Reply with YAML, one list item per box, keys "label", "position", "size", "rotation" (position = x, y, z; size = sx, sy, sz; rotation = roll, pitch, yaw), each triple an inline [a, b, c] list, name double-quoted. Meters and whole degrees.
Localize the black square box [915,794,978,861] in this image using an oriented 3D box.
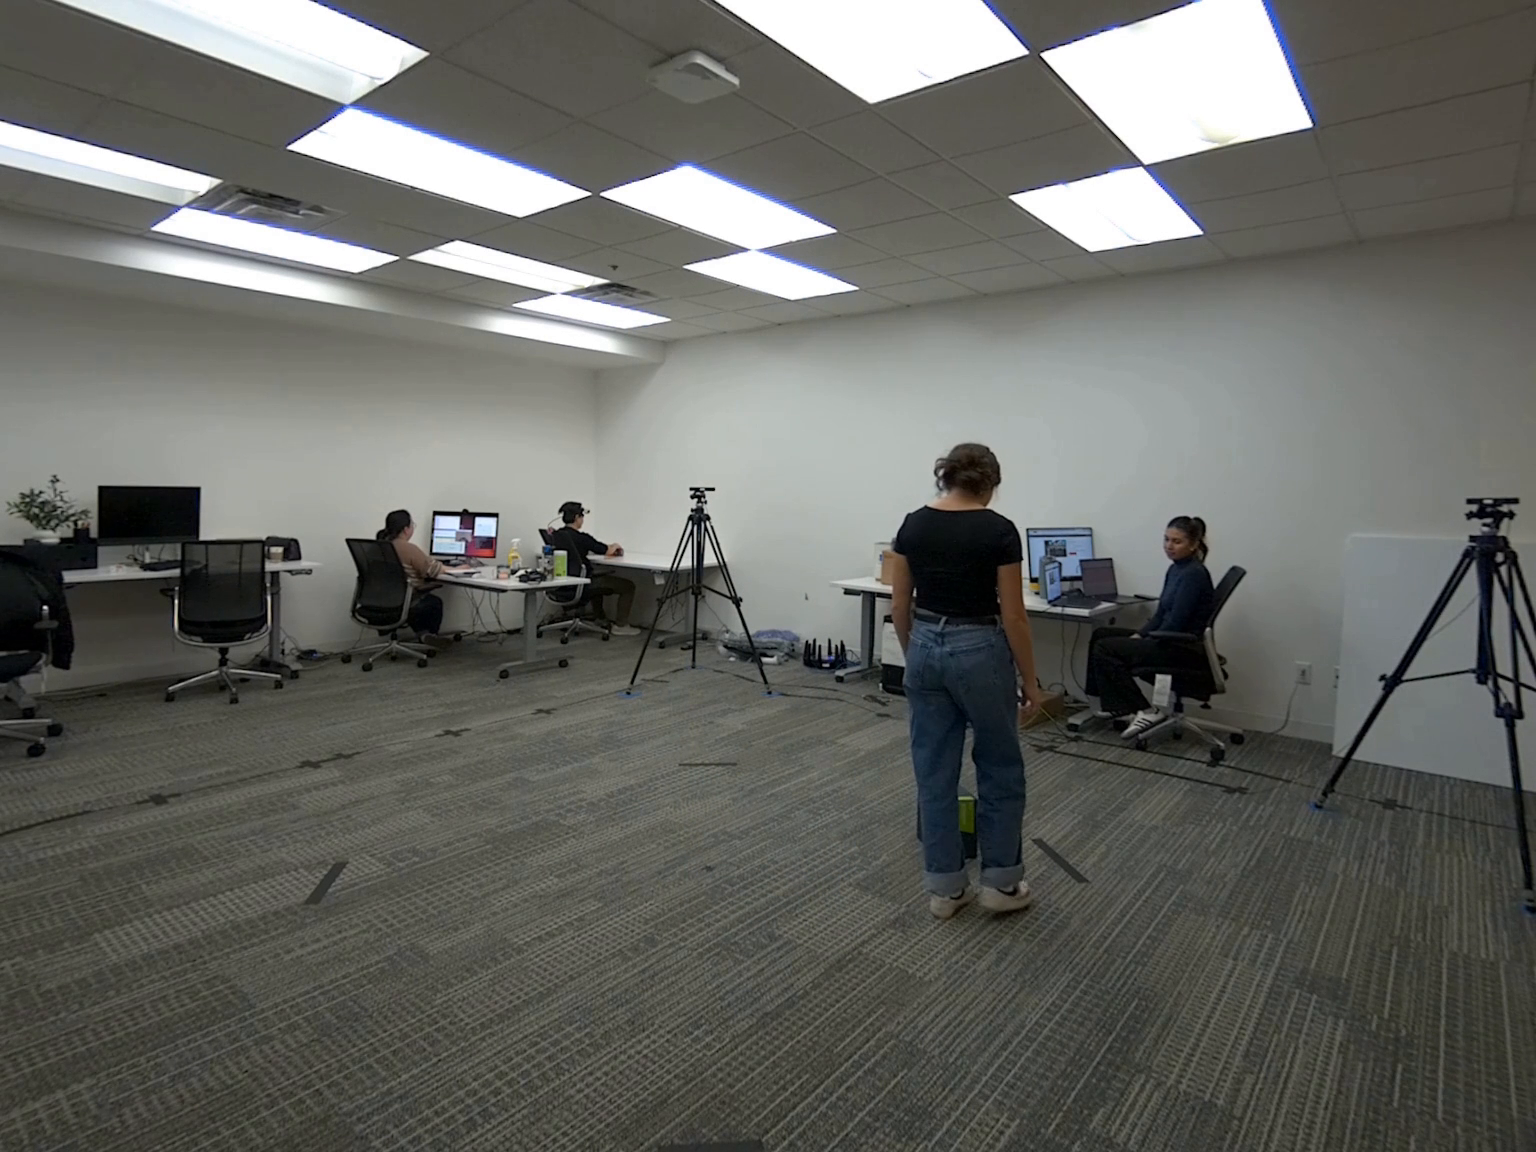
- label: "black square box"
  position: [0.695, 0.939, 3.332]
  size: [0.154, 0.227, 0.220]
  rotation: [-1, 5, -12]
